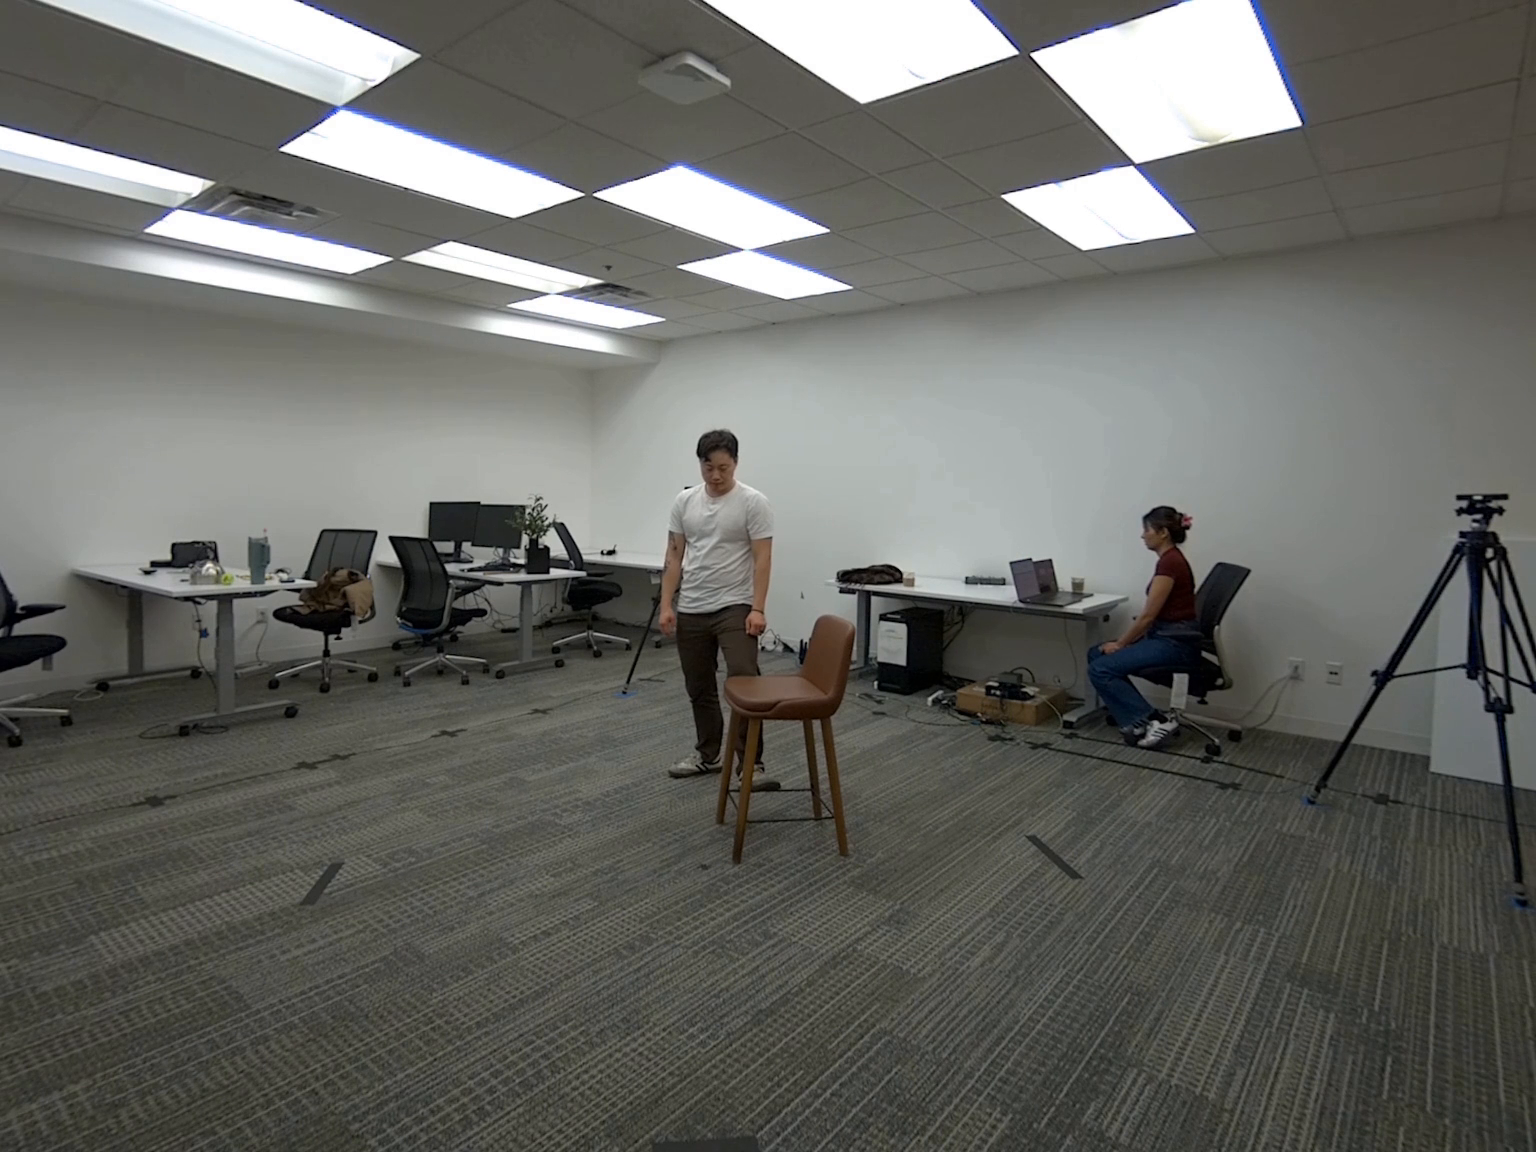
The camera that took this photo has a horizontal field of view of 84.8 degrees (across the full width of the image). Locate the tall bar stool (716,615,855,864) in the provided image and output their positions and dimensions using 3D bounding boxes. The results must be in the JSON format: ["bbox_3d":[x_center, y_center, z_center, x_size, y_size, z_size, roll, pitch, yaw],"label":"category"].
[{"bbox_3d":[0.056,0.608,3.361,0.462,0.887,0.463,2,3,-11],"label":"tall bar stool"}]
